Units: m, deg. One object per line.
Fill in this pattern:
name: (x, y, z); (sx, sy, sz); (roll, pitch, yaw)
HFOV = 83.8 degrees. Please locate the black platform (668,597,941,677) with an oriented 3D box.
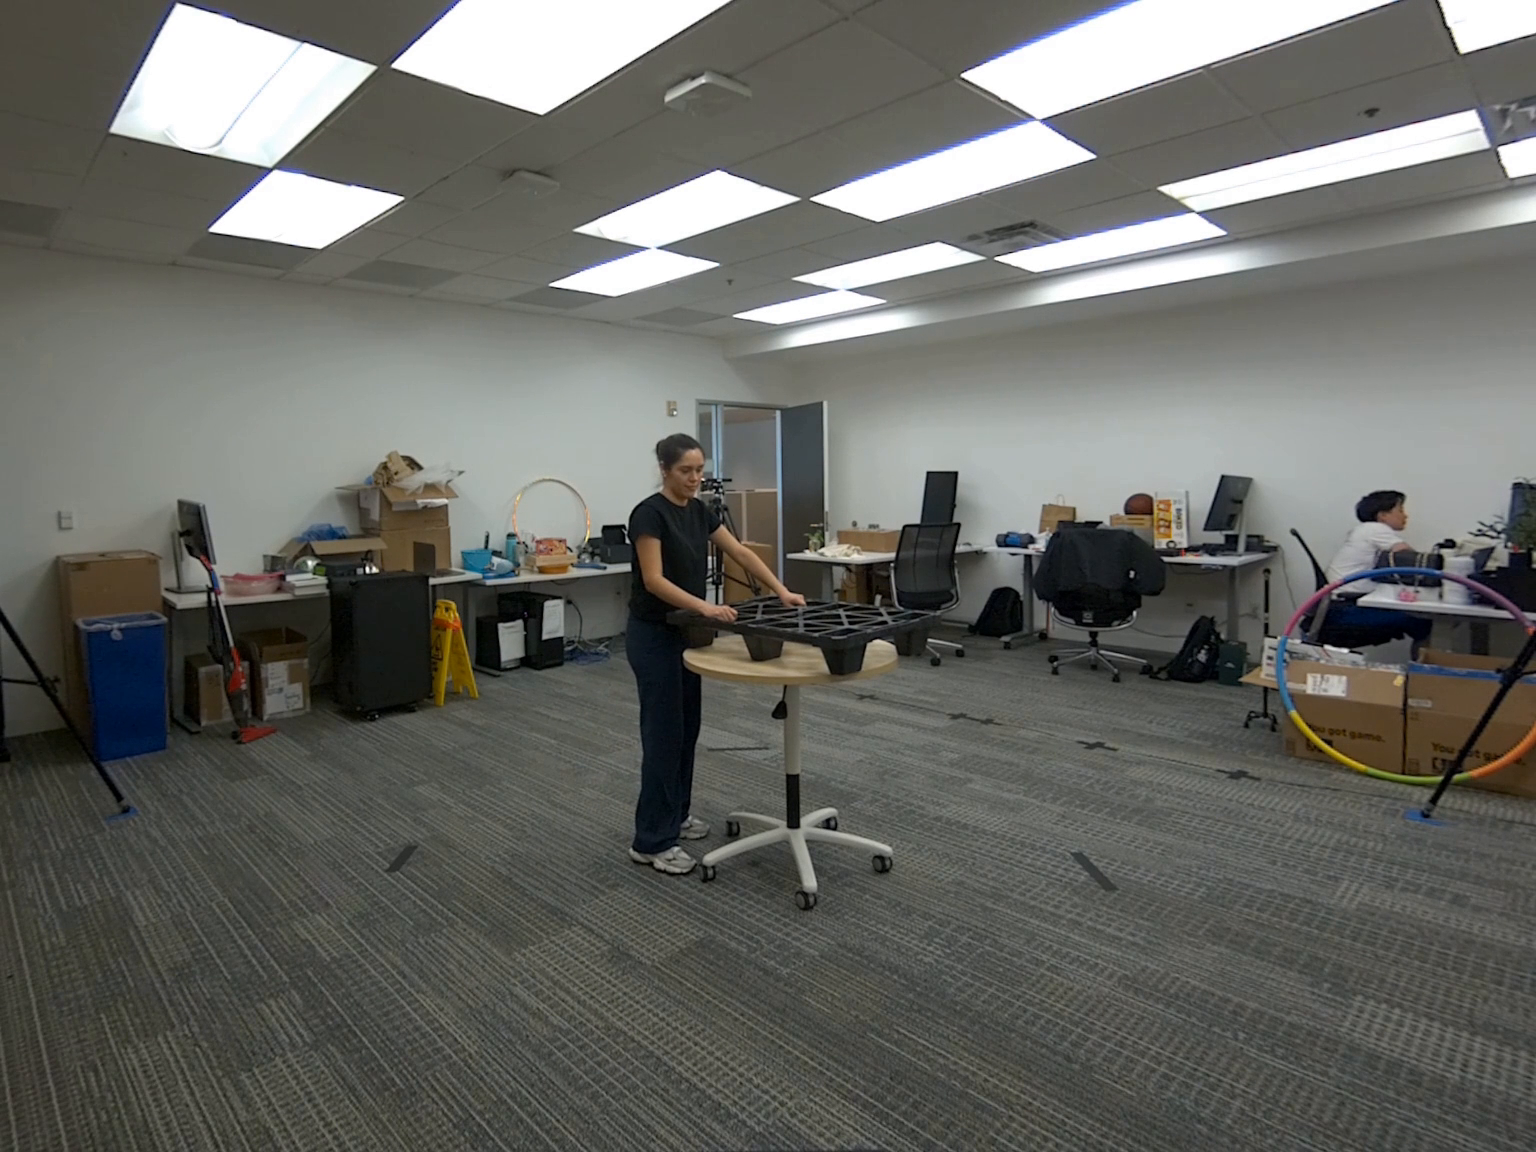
black platform: (0.117, 0.198, 3.074); (0.830, 0.143, 0.589); (5, 8, 44)
